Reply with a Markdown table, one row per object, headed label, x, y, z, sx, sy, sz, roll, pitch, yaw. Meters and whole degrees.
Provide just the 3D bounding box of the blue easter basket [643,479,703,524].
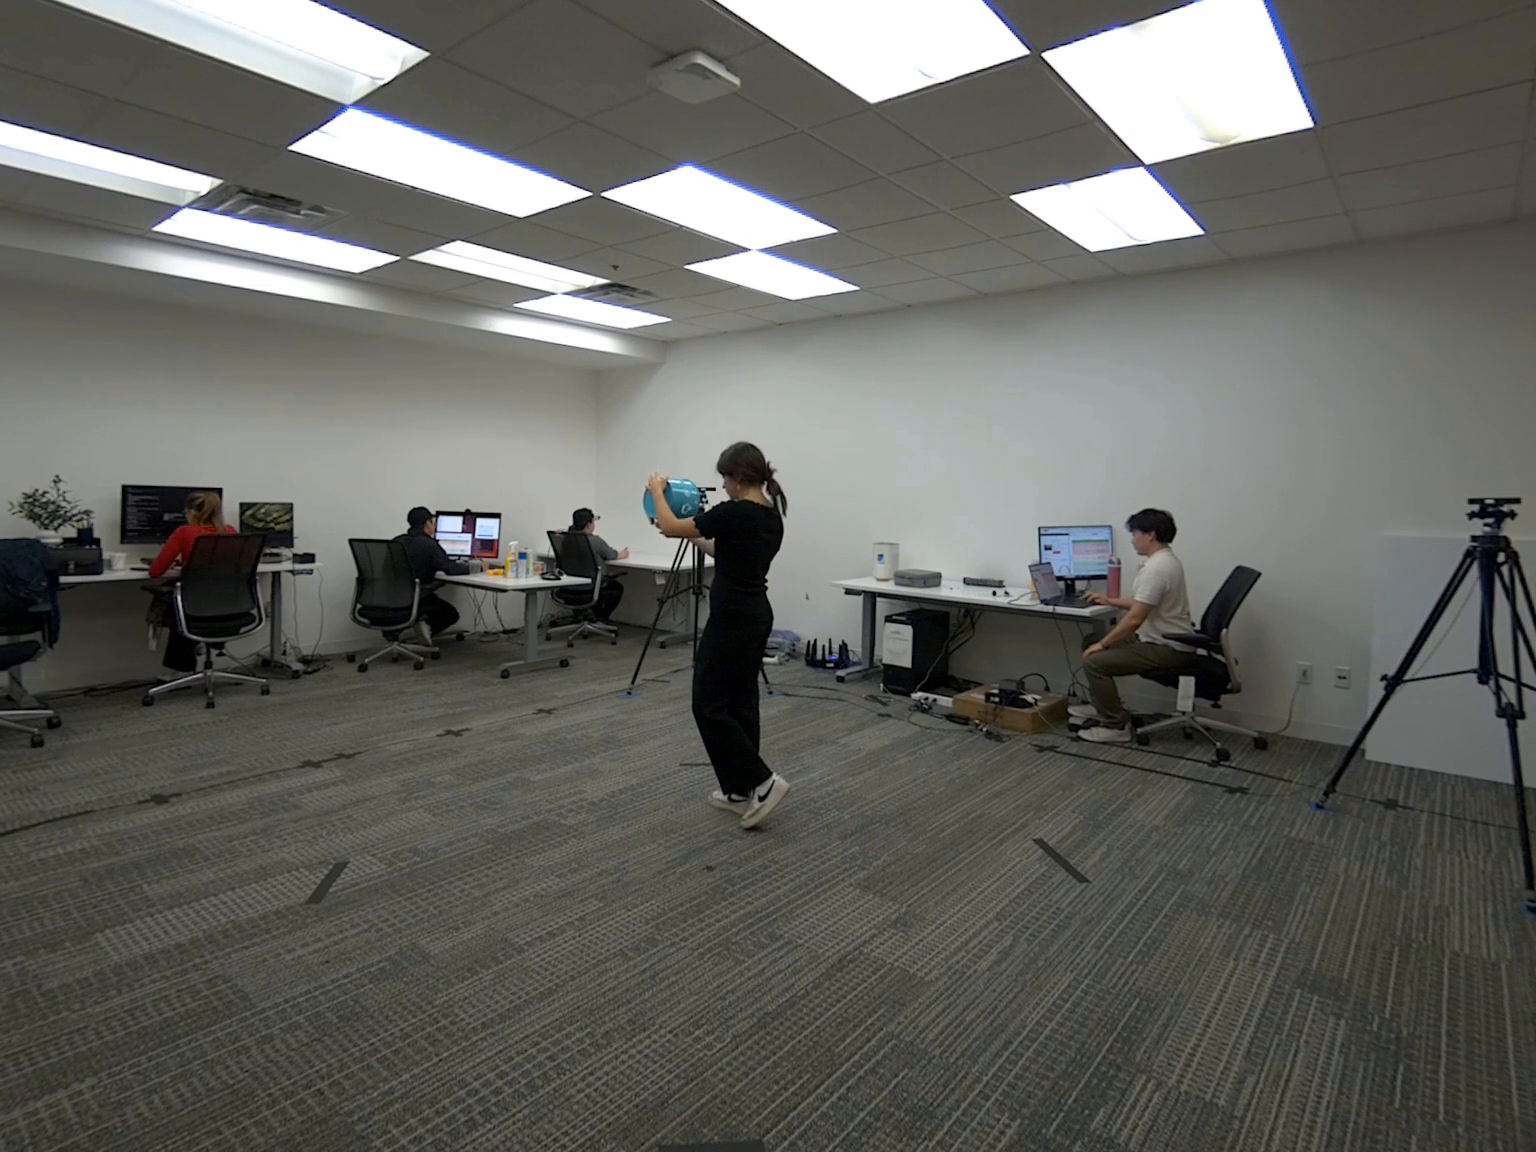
| label | x | y | z | sx | sy | sz | roll | pitch | yaw |
| --- | --- | --- | --- | --- | --- | --- | --- | --- | --- |
| blue easter basket | -0.451 | -0.325 | 3.813 | 0.252 | 0.244 | 0.150 | 4 | -5 | 40 |
